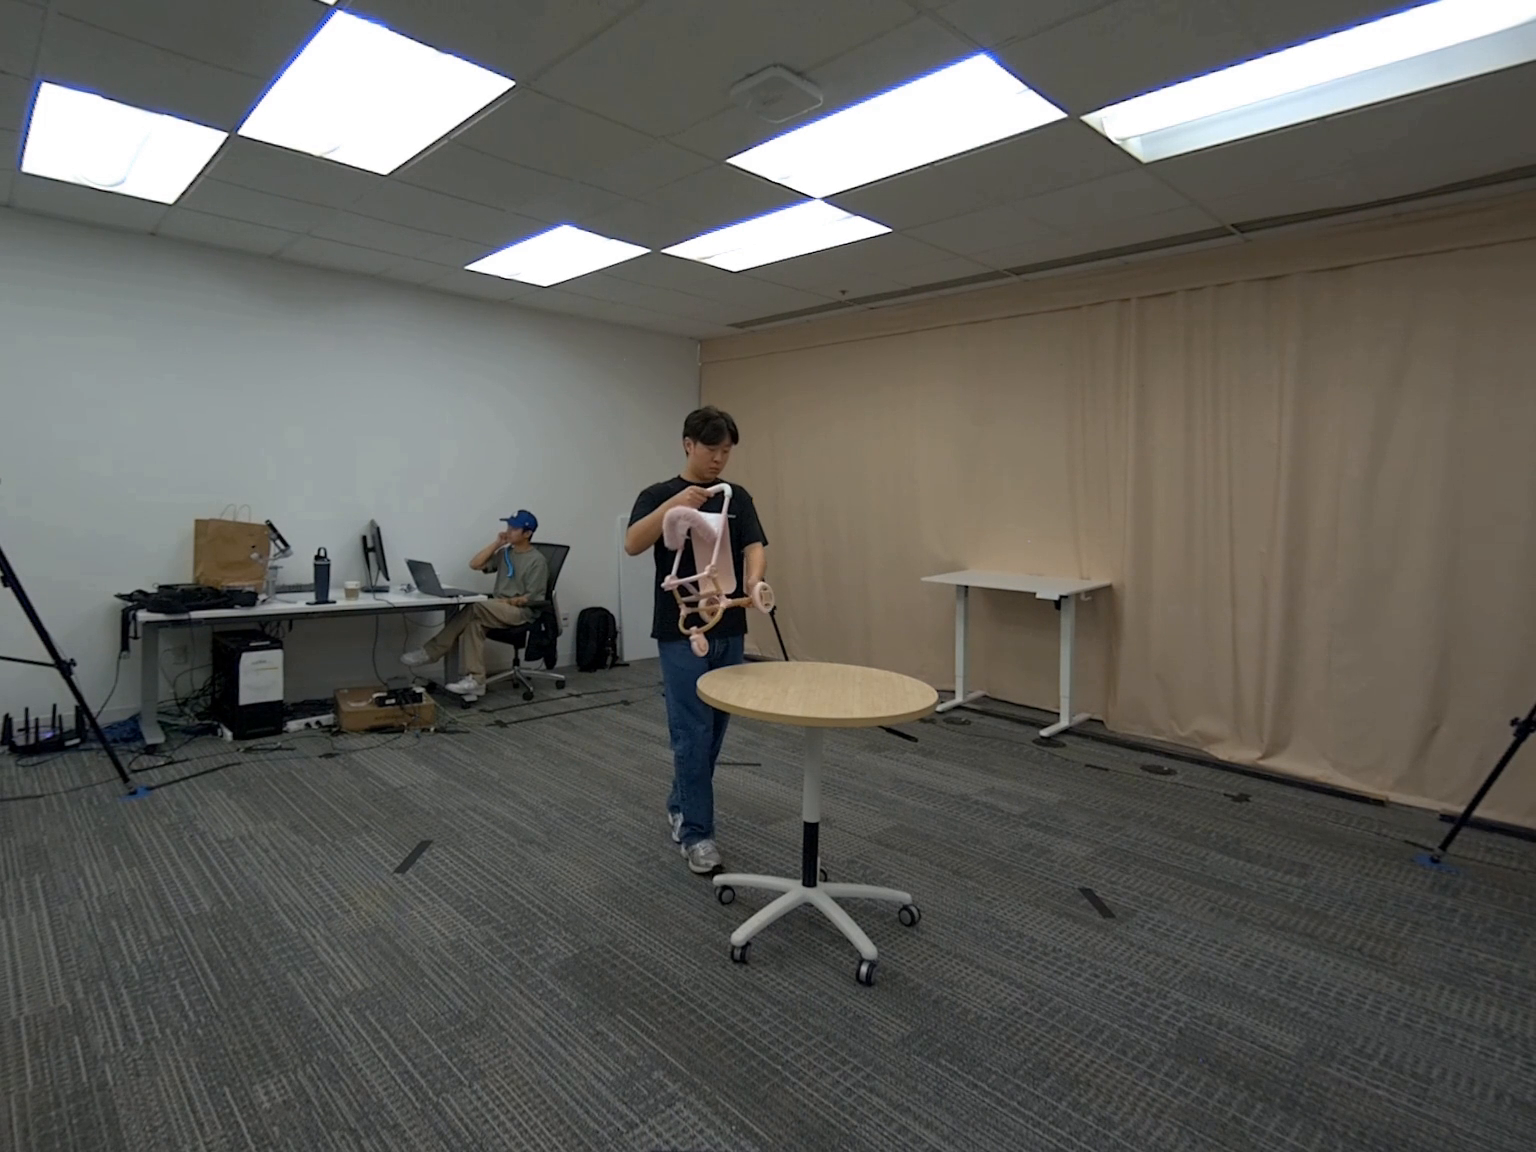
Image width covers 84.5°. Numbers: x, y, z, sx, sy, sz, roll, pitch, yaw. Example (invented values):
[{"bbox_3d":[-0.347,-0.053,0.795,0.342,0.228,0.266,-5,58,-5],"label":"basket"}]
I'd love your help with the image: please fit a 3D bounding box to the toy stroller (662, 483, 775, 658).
[{"bbox_3d":[-0.230,-0.017,2.900,0.286,0.533,0.336,-13,5,43],"label":"toy stroller"}]
